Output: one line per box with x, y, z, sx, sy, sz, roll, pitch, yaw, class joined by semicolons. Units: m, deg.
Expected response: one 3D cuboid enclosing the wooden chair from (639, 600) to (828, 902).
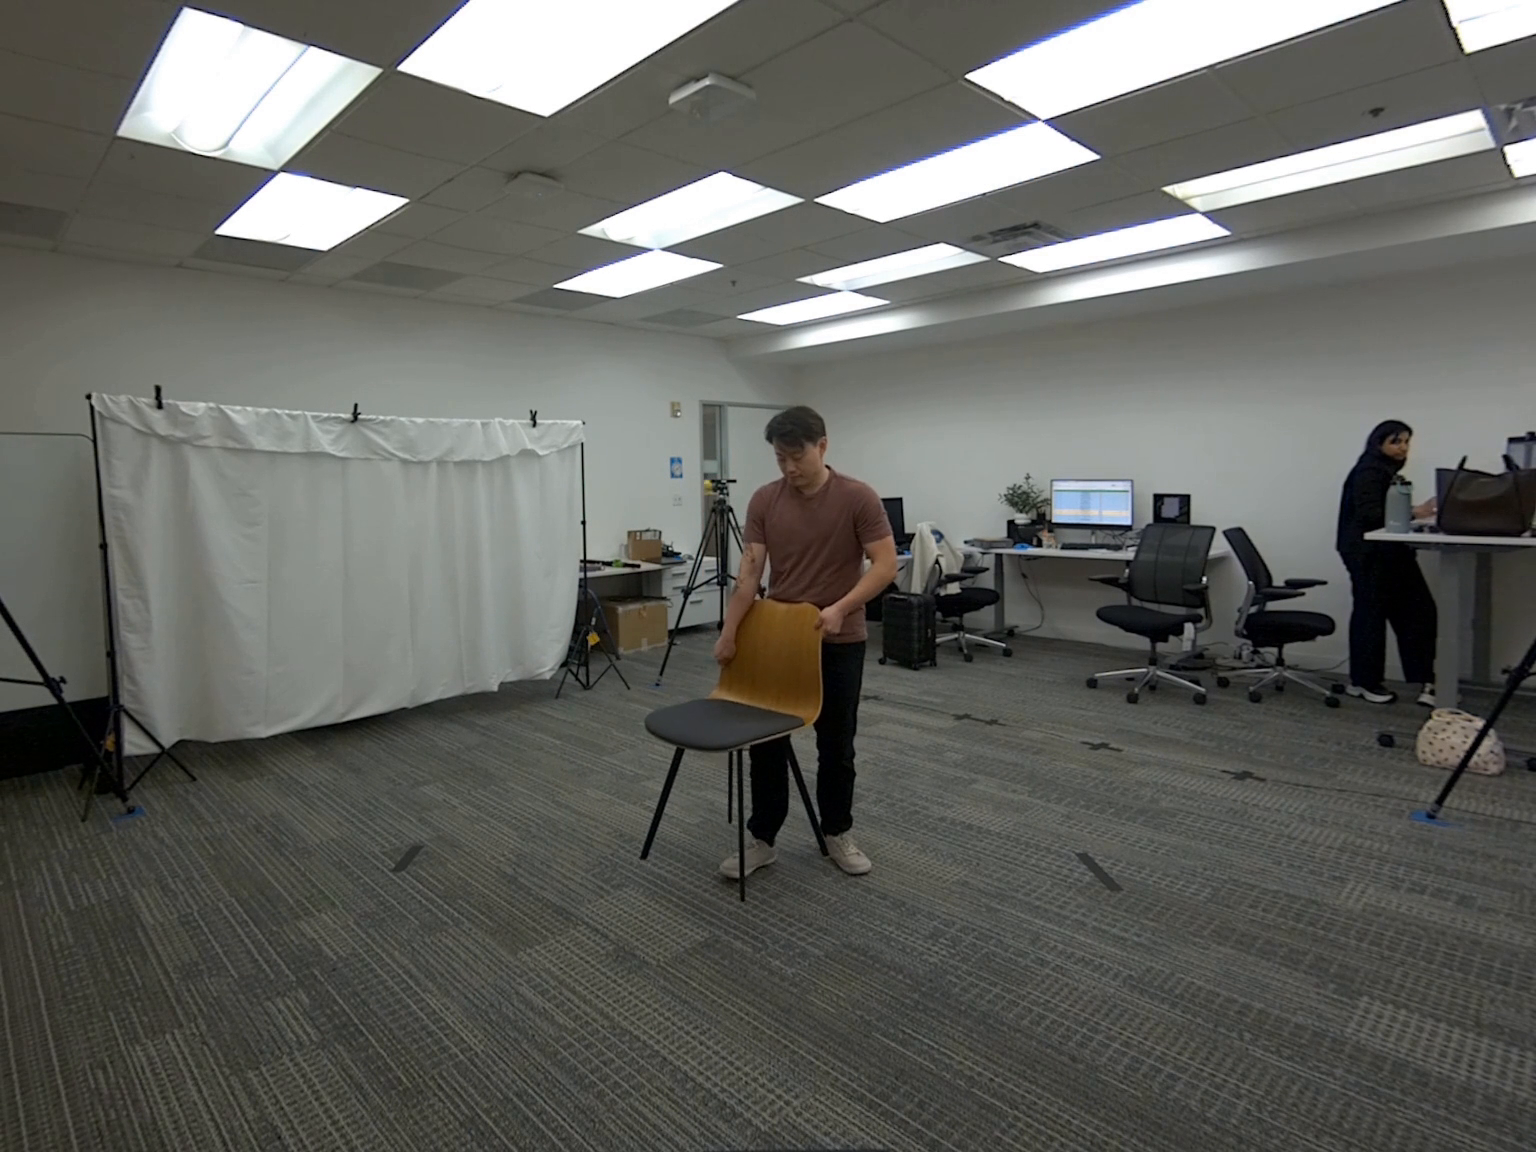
-0.111;0.526;2.820;0.493;0.878;0.507;4;0;40;wooden chair
